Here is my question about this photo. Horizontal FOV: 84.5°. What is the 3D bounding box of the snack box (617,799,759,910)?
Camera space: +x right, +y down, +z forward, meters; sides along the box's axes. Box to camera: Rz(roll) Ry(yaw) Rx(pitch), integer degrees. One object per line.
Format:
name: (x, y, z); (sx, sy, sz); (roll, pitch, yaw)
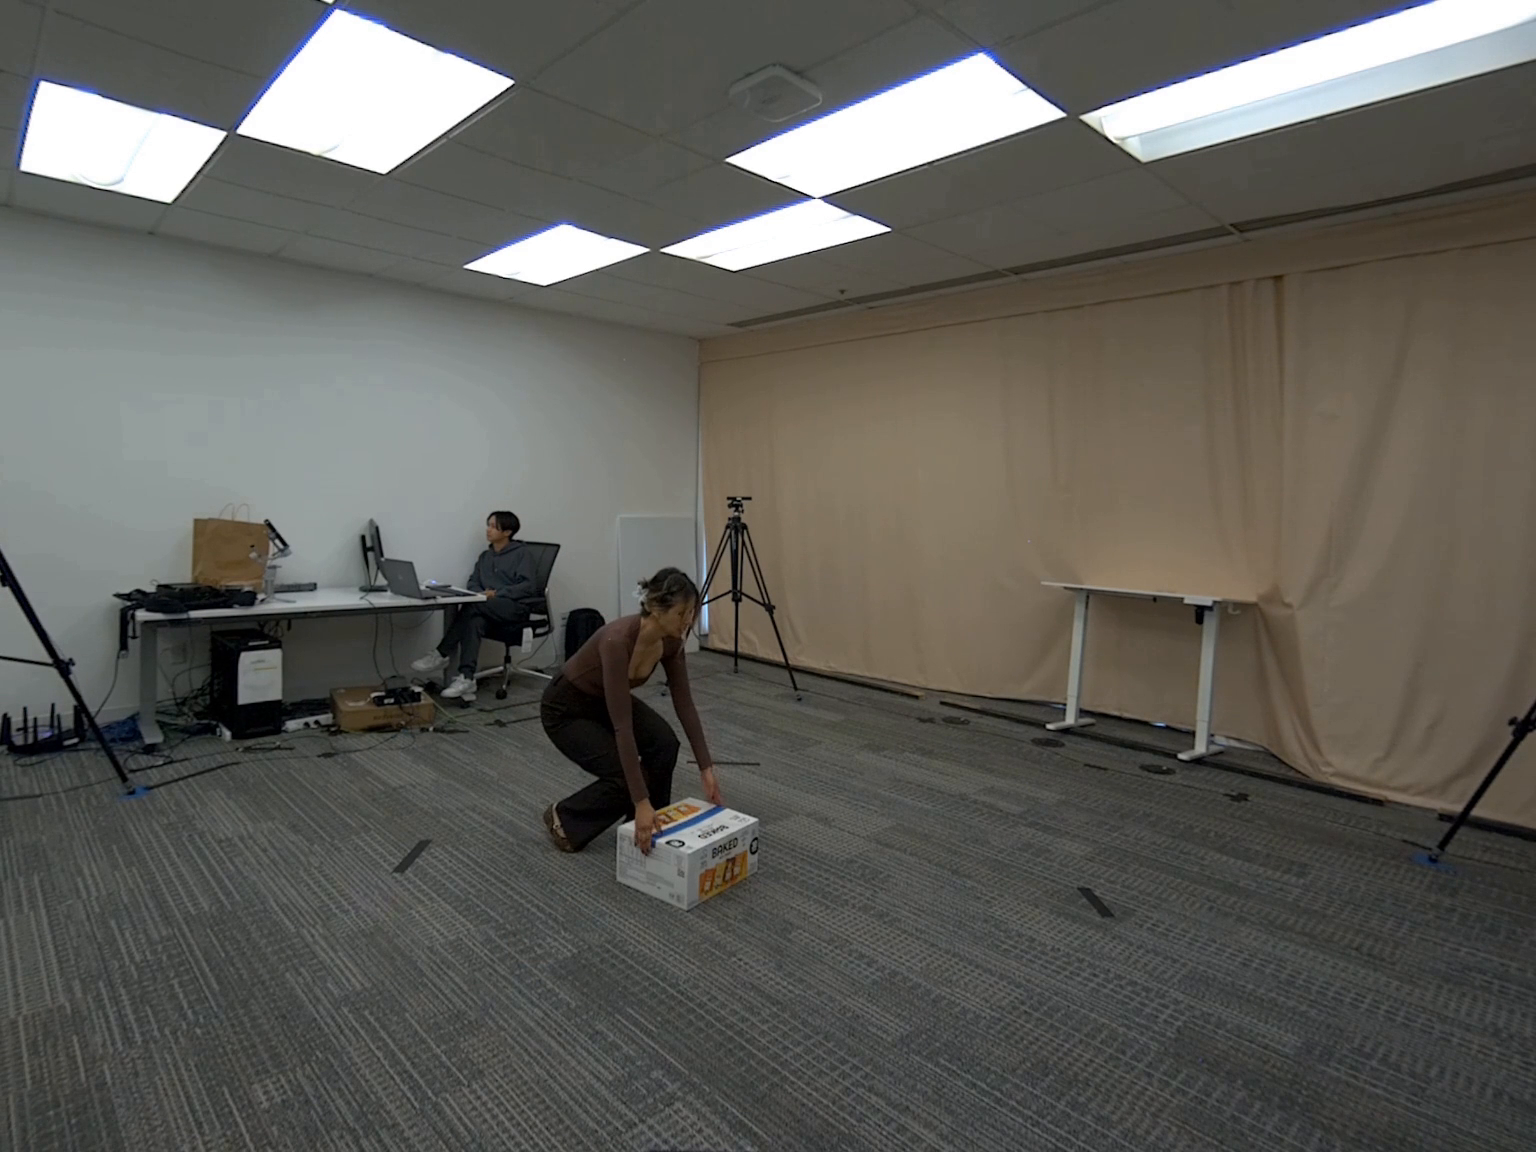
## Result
snack box: (-0.298, 1.000, 3.077); (0.349, 0.205, 0.396); (5, 6, 37)
